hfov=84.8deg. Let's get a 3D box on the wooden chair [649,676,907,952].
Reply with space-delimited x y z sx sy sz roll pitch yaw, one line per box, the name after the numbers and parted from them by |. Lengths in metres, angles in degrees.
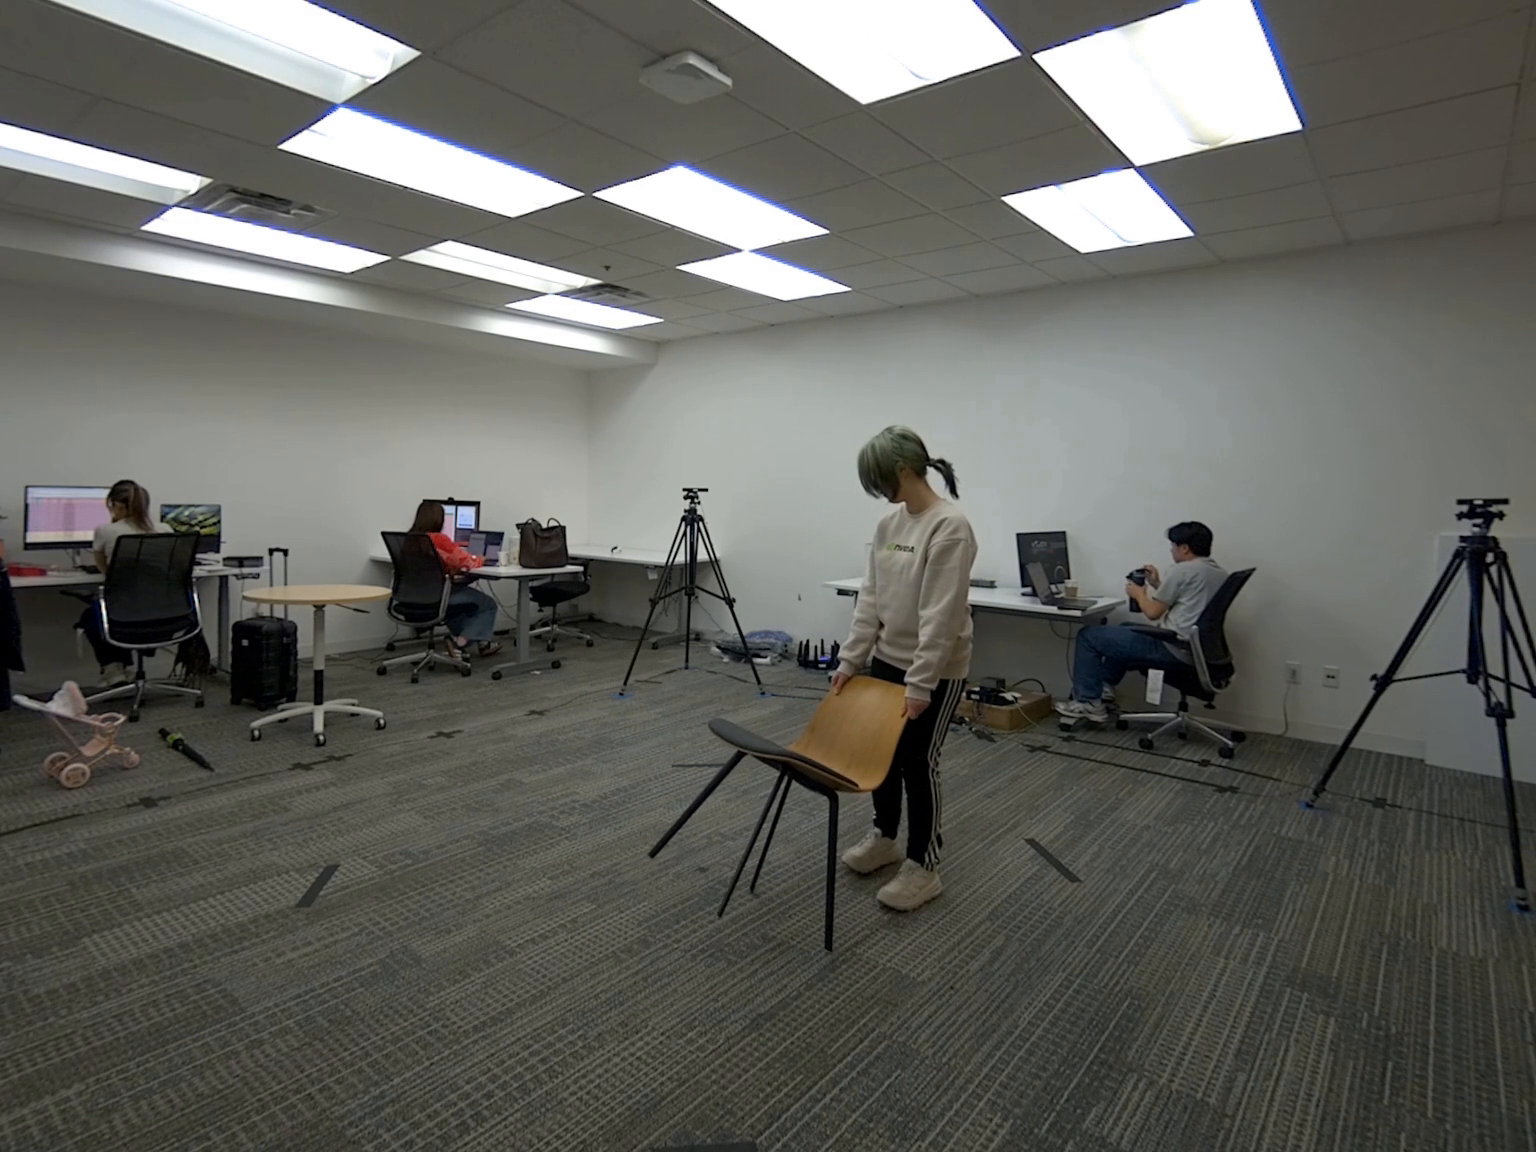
0.055 0.625 2.722 0.505 0.881 0.493 35 -14 -30 | wooden chair
